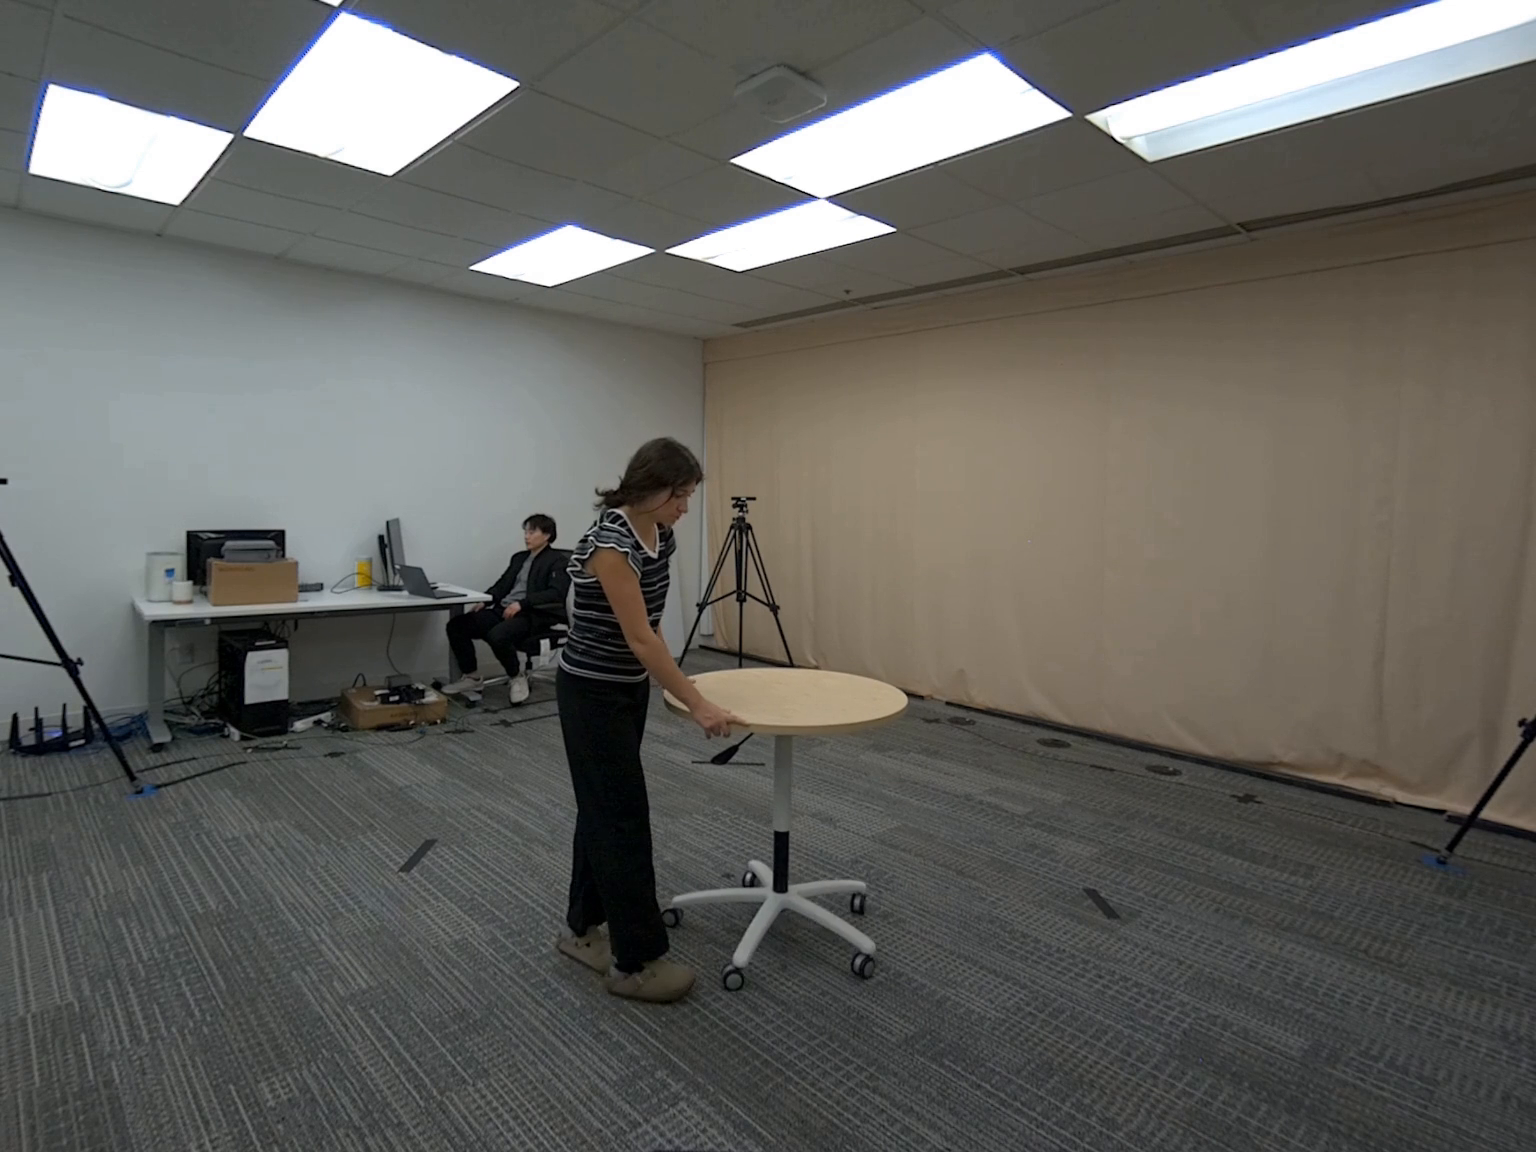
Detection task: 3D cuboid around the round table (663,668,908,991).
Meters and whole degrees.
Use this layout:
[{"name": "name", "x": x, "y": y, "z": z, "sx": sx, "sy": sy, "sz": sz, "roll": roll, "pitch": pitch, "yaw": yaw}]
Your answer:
[{"name": "round table", "x": 0.038, "y": 0.762, "z": 2.687, "sx": 0.763, "sy": 0.791, "sz": 0.767, "roll": 1, "pitch": 5, "yaw": -1}]
